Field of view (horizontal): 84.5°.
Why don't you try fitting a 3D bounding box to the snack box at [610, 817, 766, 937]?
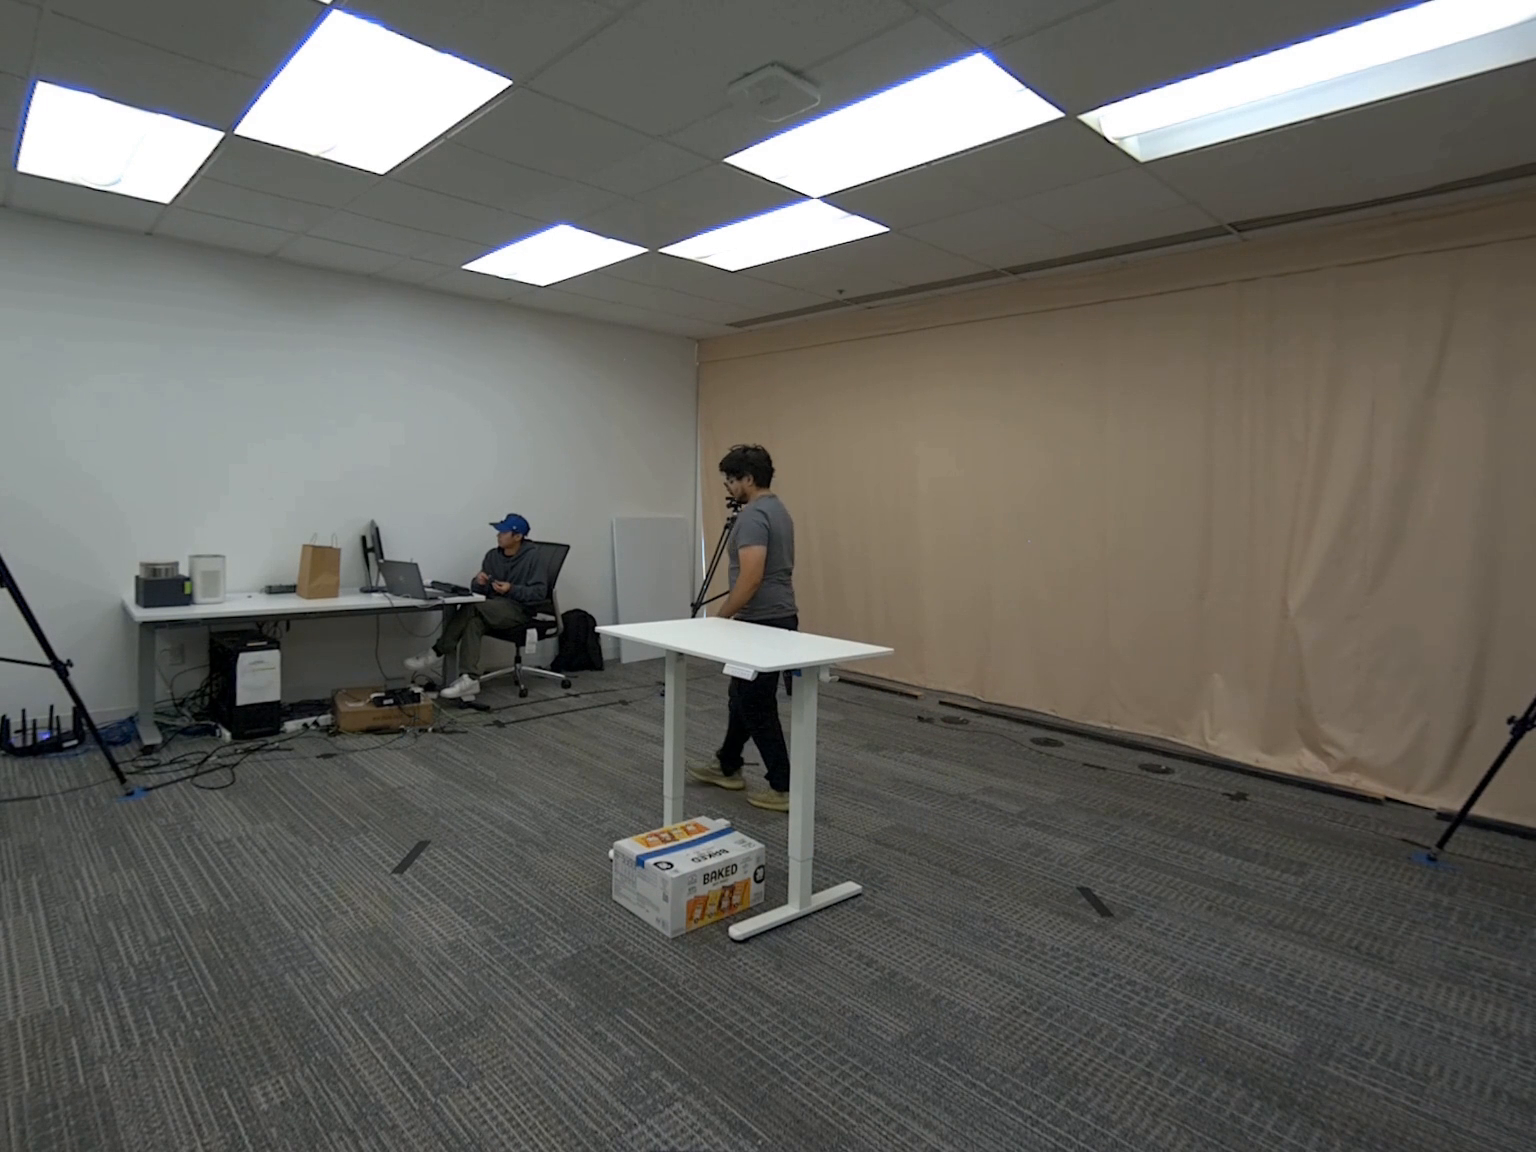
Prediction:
[{"bbox_3d":[-0.278,1.025,2.890,0.396,0.205,0.349,-3,6,-42],"label":"snack box"}]
